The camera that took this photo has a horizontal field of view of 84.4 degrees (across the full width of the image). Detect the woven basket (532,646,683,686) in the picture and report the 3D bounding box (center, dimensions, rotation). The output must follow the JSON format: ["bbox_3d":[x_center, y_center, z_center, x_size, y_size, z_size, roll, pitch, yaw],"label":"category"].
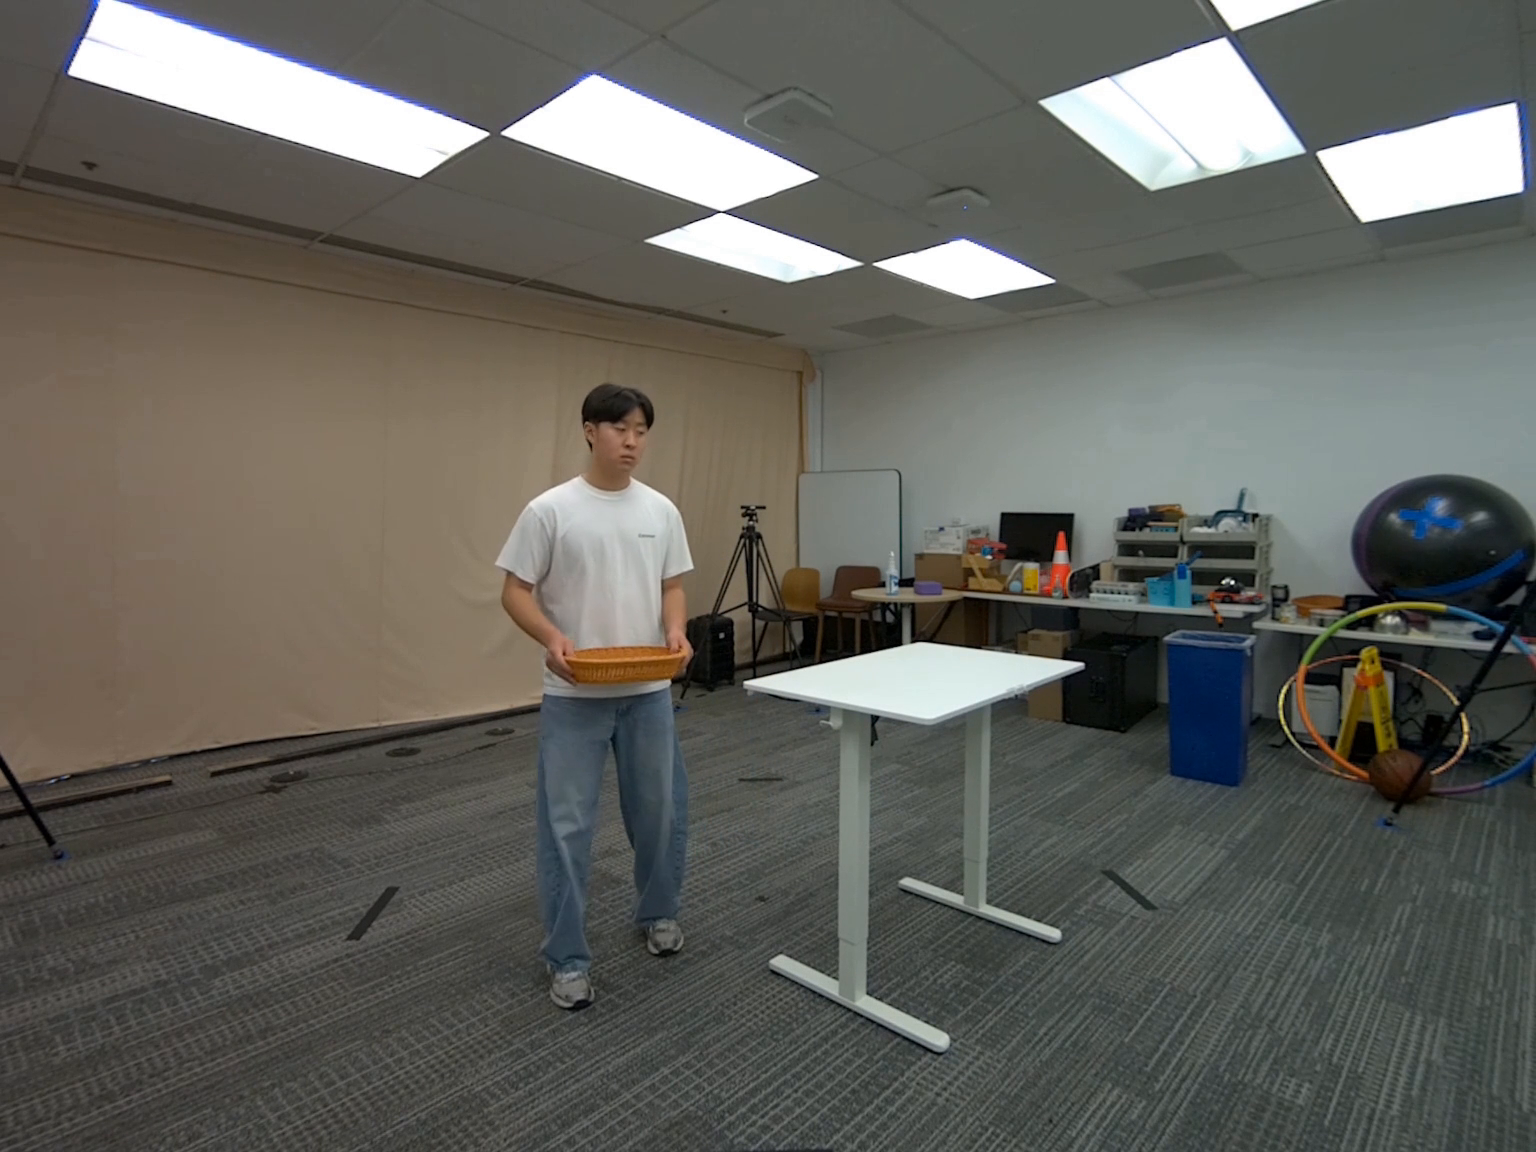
[{"bbox_3d":[-0.428,0.237,2.306,0.353,0.073,0.251,3,4,7],"label":"woven basket"}]
